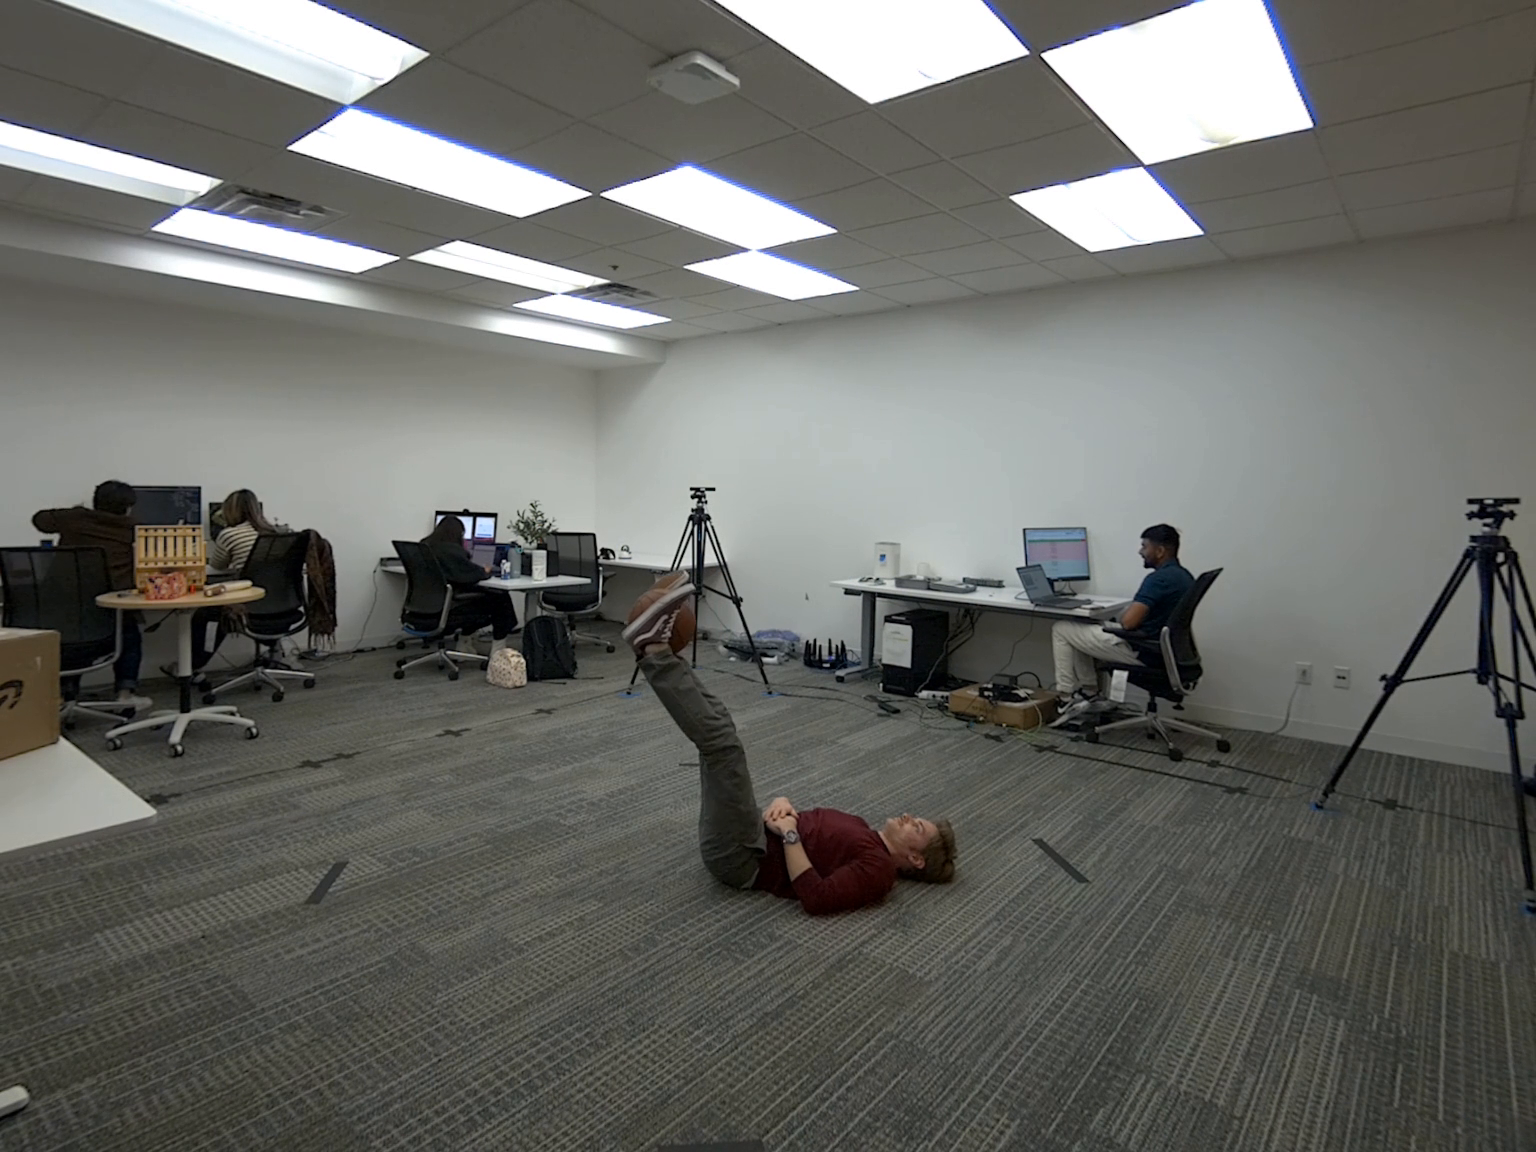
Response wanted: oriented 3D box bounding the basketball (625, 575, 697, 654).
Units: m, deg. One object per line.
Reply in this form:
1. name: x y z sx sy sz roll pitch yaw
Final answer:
1. basketball: -0.377 0.160 3.009 0.236 0.235 0.237 -3 3 -2
